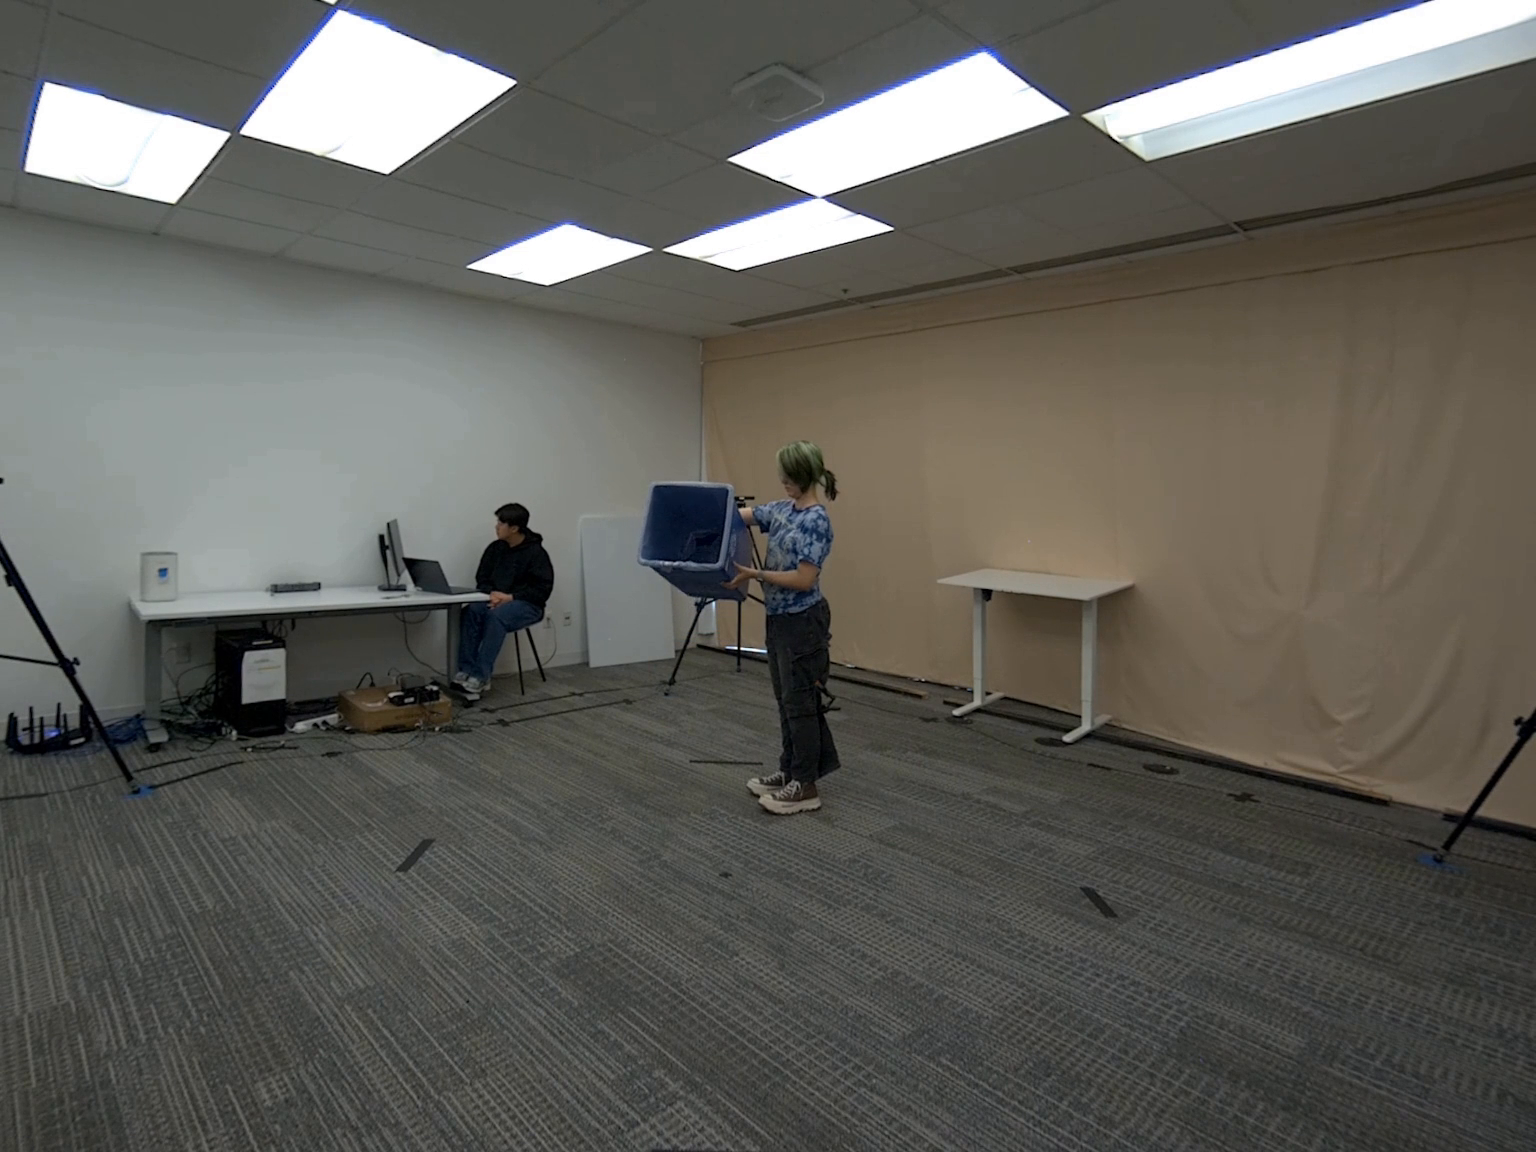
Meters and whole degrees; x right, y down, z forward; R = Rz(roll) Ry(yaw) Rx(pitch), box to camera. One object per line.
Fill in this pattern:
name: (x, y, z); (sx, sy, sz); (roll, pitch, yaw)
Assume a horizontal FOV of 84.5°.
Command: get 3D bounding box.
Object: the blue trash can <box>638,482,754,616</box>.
blue trash can: (-0.294, -0.130, 3.795); (0.382, 0.377, 0.699); (3, -14, 12)
